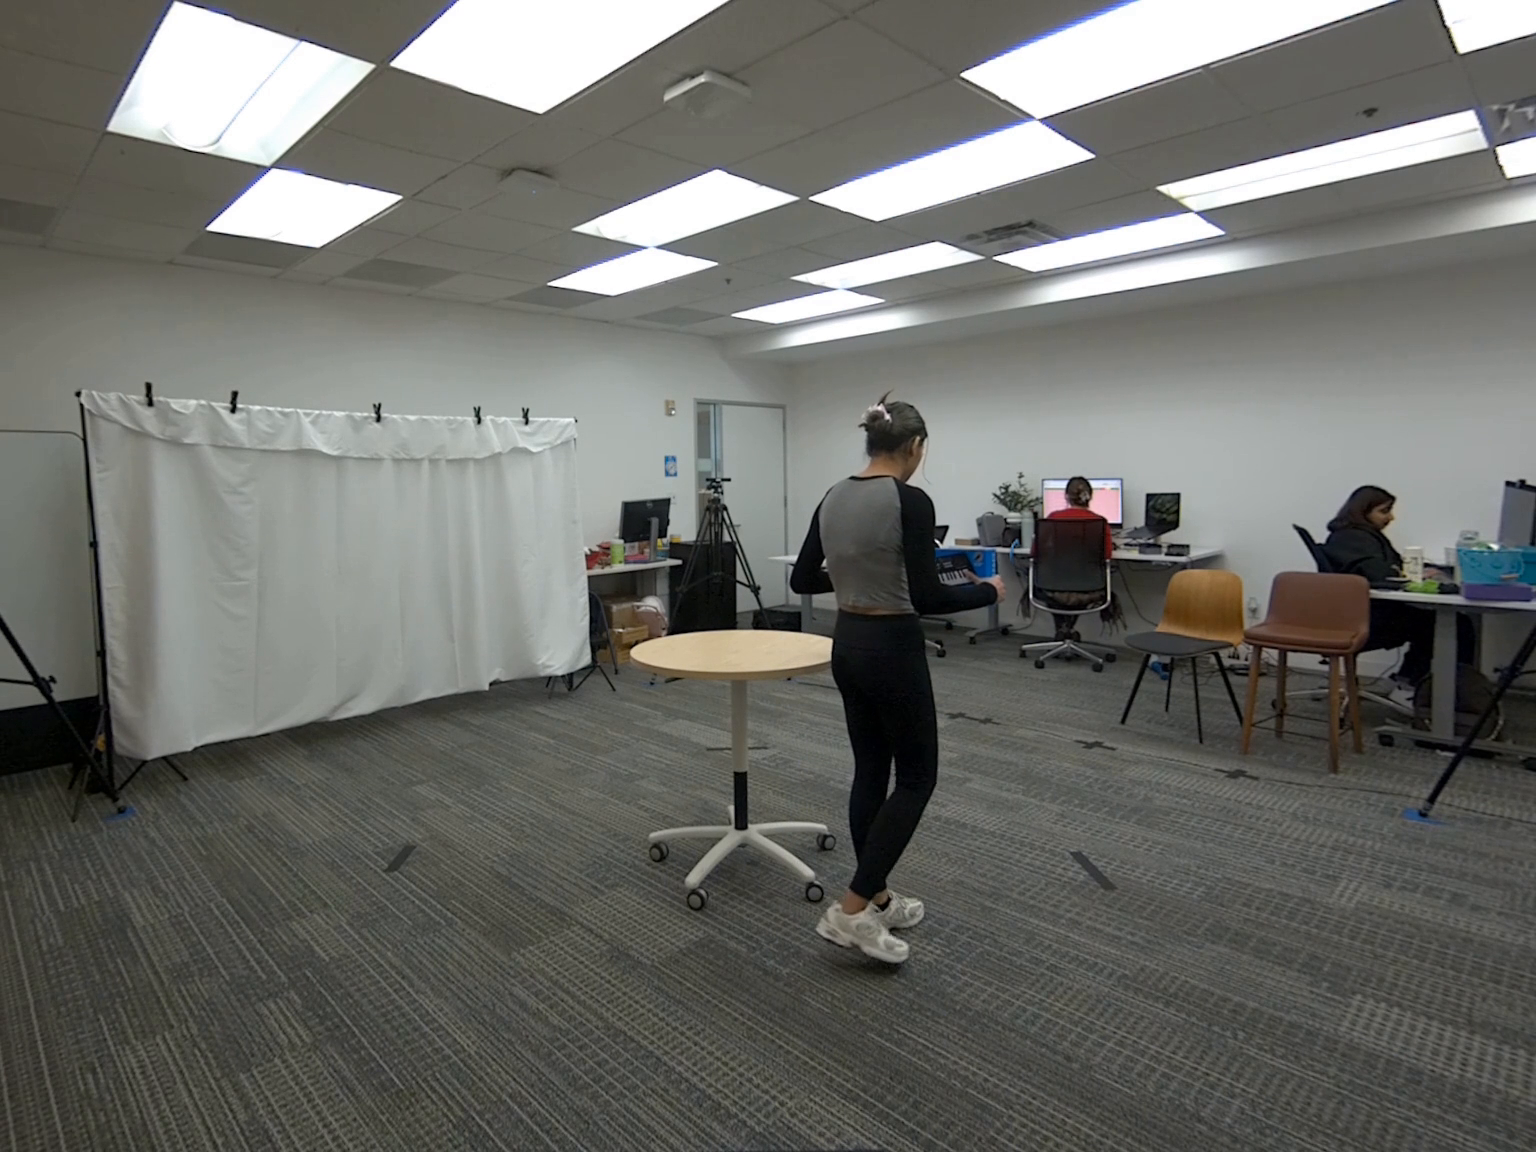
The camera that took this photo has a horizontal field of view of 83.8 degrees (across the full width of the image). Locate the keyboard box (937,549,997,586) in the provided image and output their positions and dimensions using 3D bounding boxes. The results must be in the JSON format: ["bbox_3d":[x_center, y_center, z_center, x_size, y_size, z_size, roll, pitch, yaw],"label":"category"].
[{"bbox_3d":[0.514,0.002,2.682,0.057,0.176,0.450,0,1,-43],"label":"keyboard box"}]
